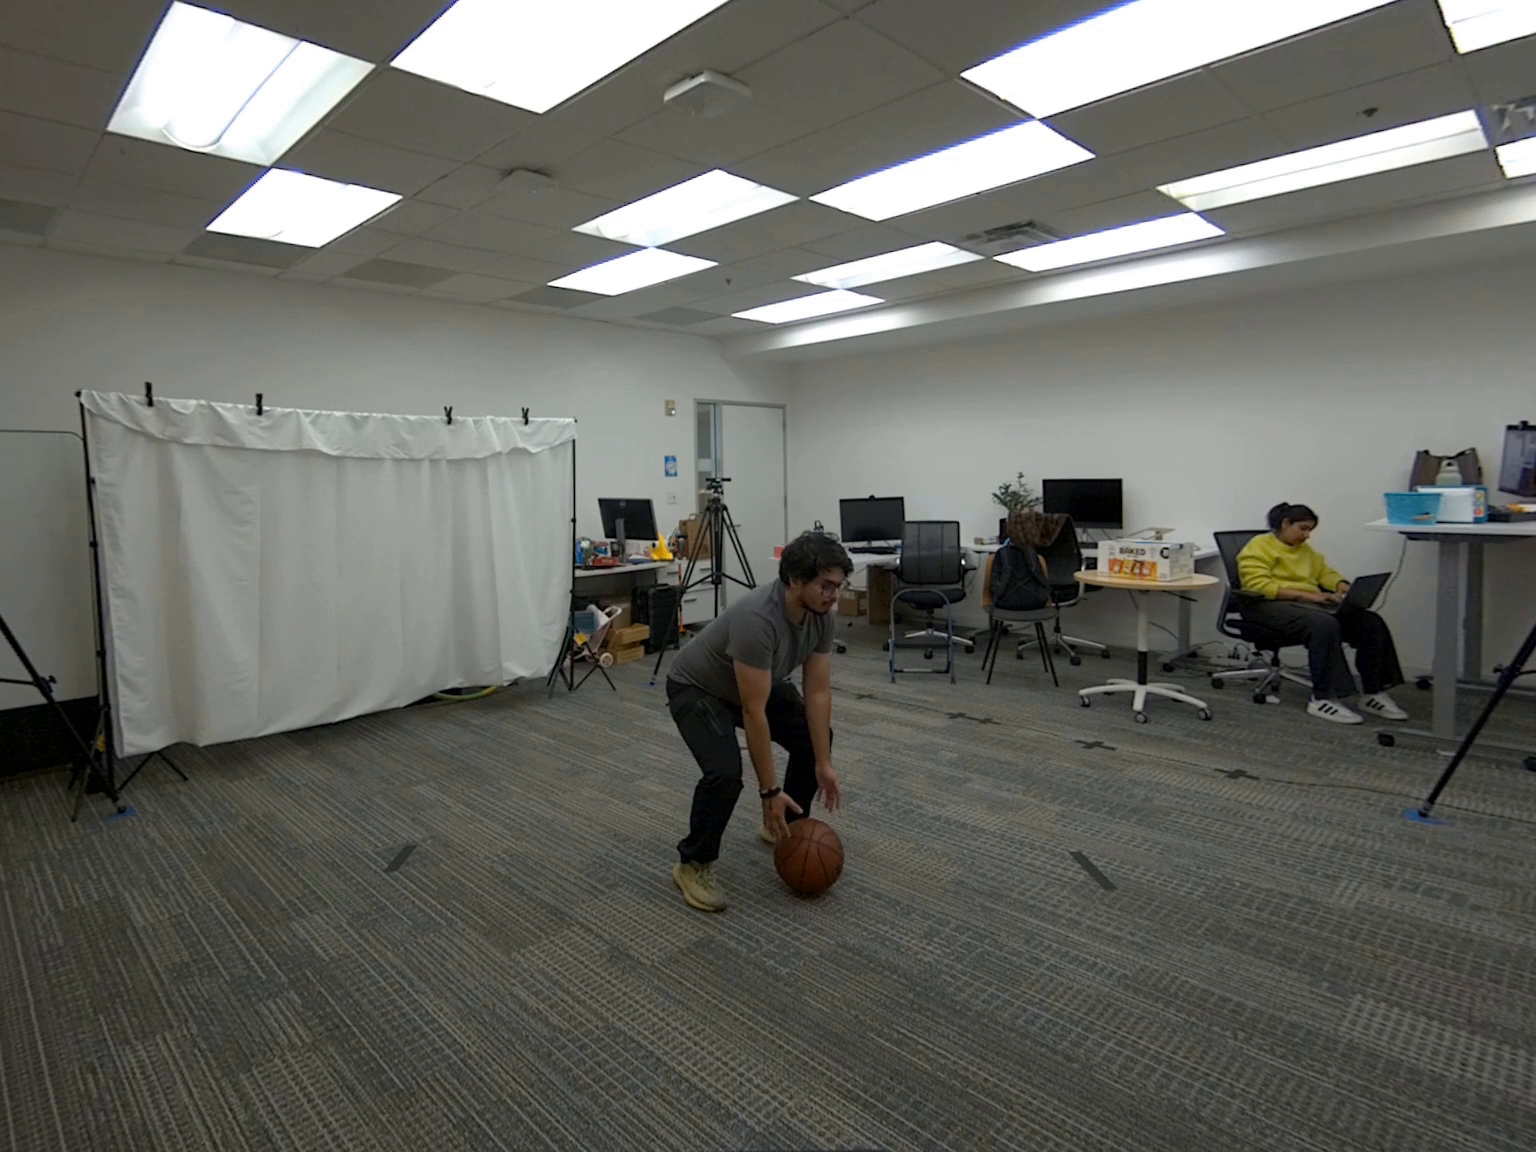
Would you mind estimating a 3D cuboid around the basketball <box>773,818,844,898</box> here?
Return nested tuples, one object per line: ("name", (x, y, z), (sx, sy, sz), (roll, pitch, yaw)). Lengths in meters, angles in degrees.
("basketball", (0.140, 0.943, 2.884), (0.236, 0.235, 0.237), (-1, 5, -2))
